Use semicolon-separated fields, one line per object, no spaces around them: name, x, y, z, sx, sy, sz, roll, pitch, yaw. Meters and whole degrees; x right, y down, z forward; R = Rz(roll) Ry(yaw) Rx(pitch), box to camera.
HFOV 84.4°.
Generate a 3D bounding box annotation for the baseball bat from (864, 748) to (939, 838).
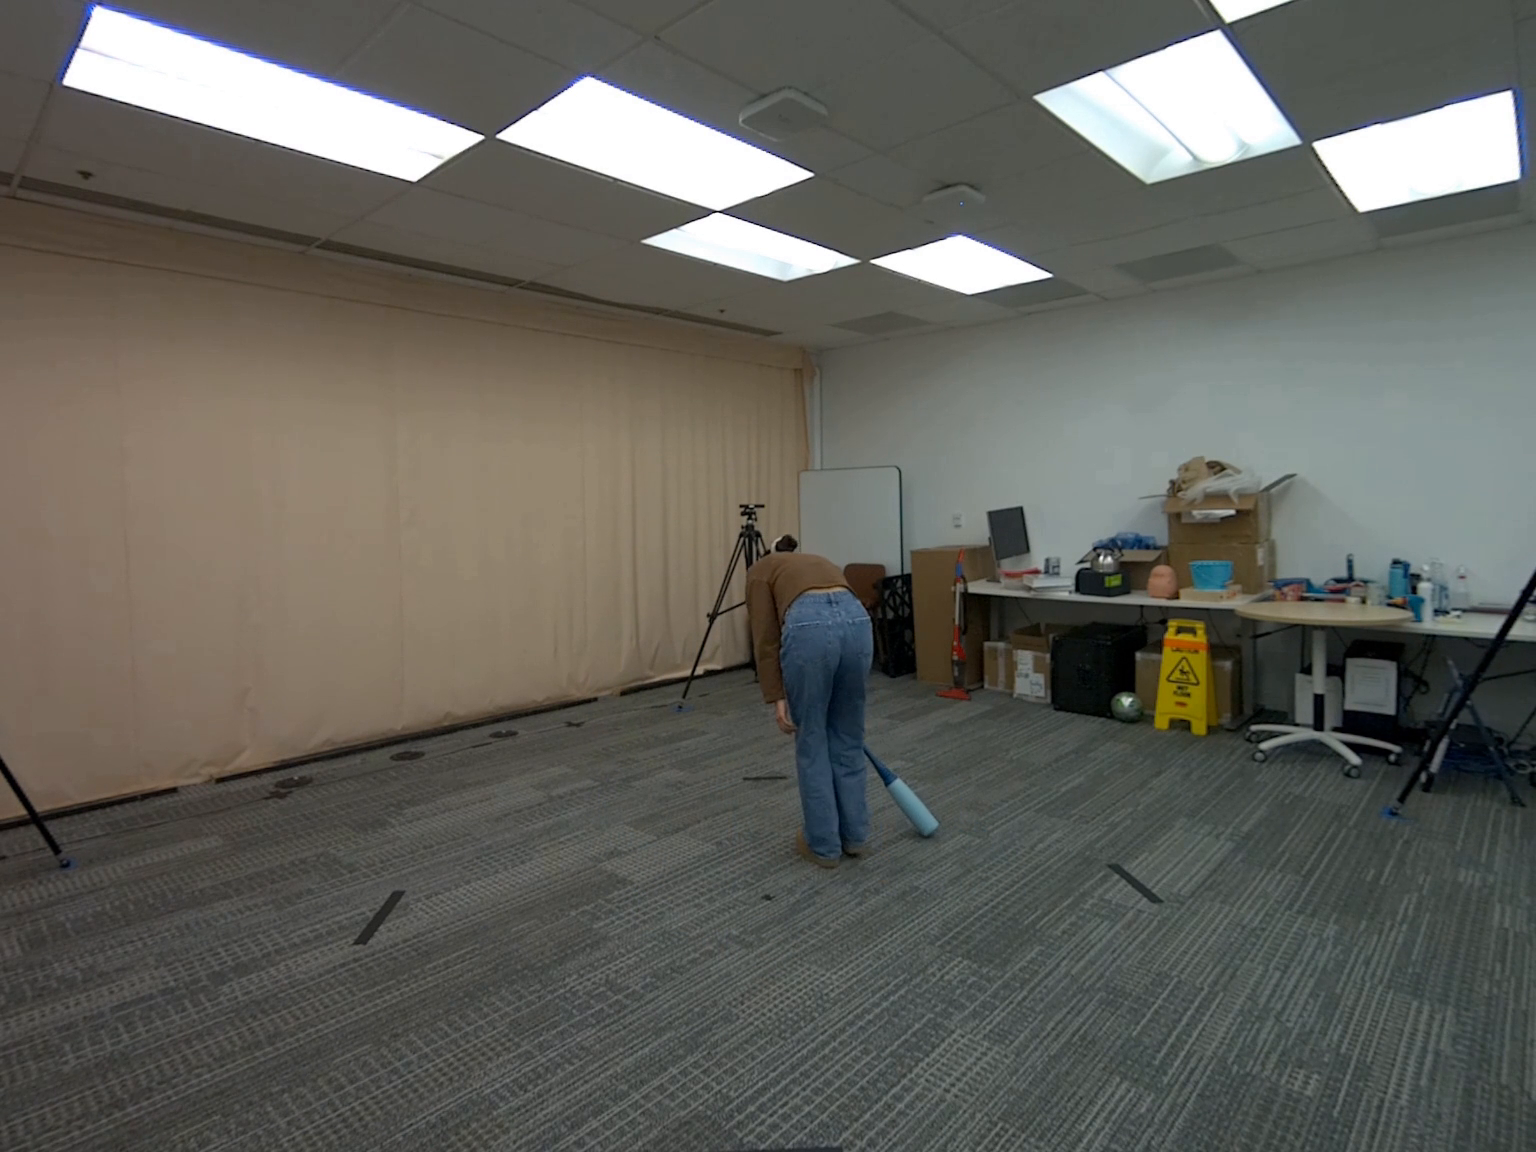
baseball bat;0.526;0.867;3.583;0.088;0.556;0.088;-33;-22;-16
